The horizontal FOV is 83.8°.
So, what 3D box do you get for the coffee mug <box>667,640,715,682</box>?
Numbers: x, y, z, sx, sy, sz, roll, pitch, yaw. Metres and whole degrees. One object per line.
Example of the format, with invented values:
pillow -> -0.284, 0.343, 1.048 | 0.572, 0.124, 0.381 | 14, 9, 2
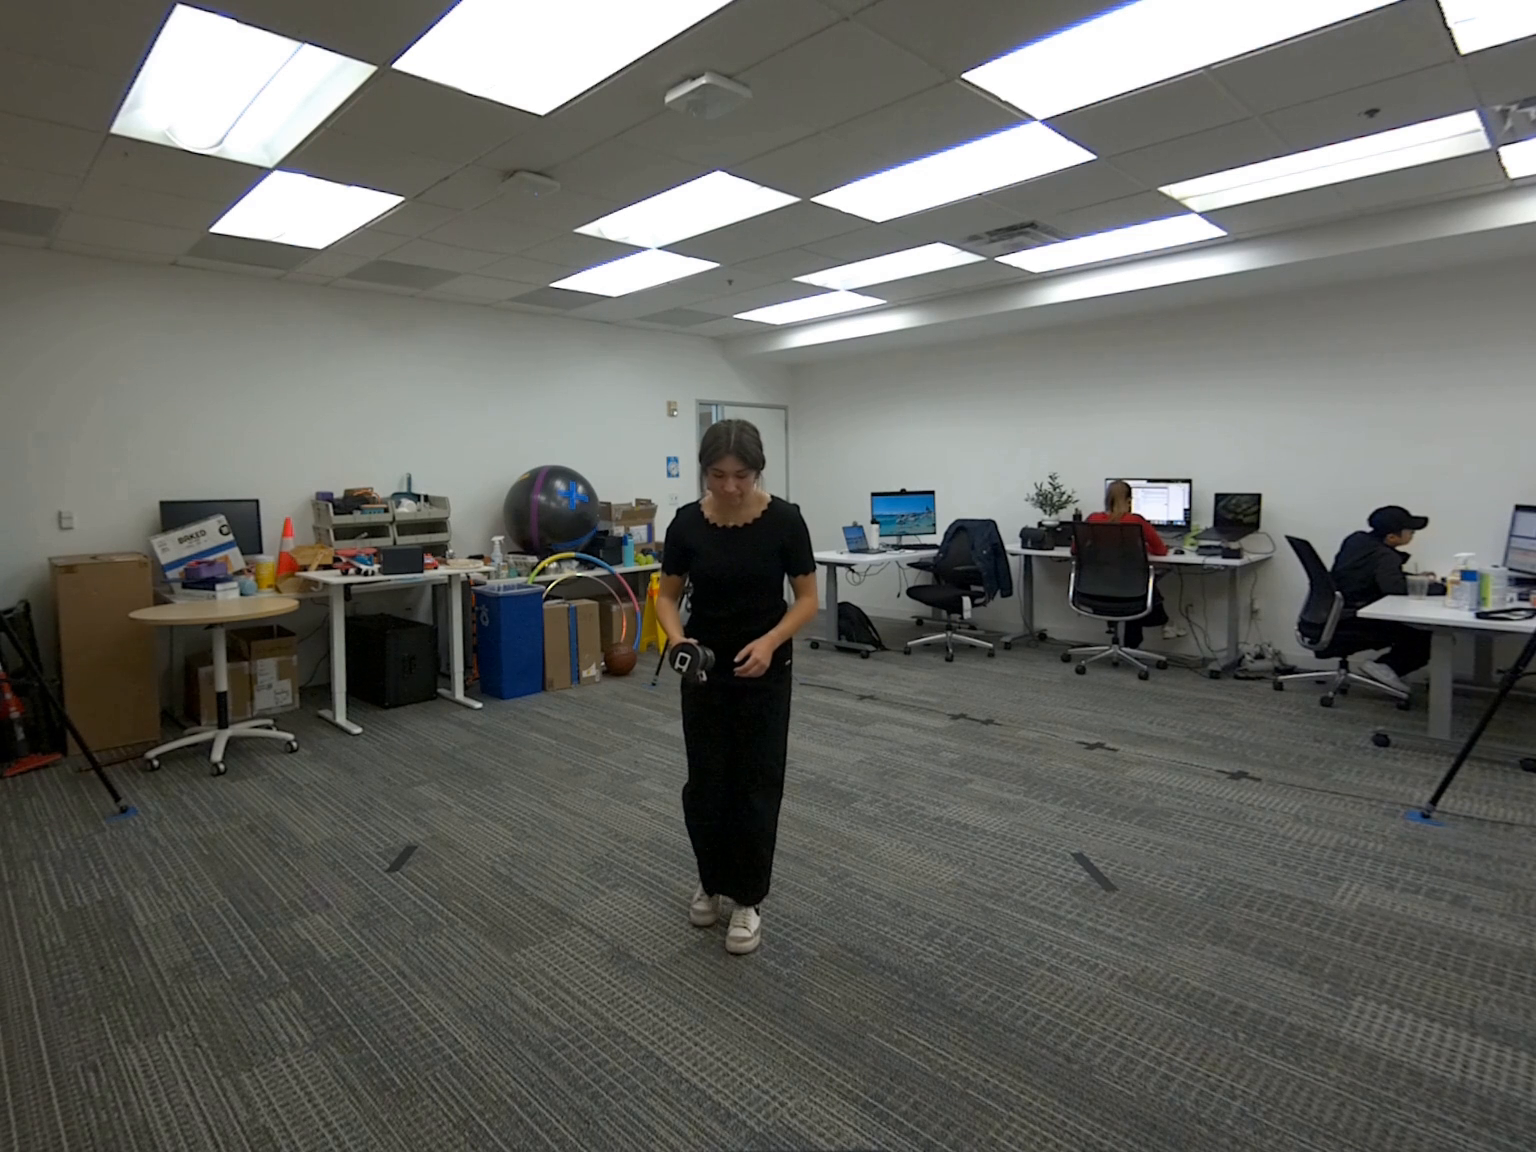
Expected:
coffee mug -> -0.201, 0.259, 2.377 | 0.088, 0.124, 0.199 | -22, -14, 3
